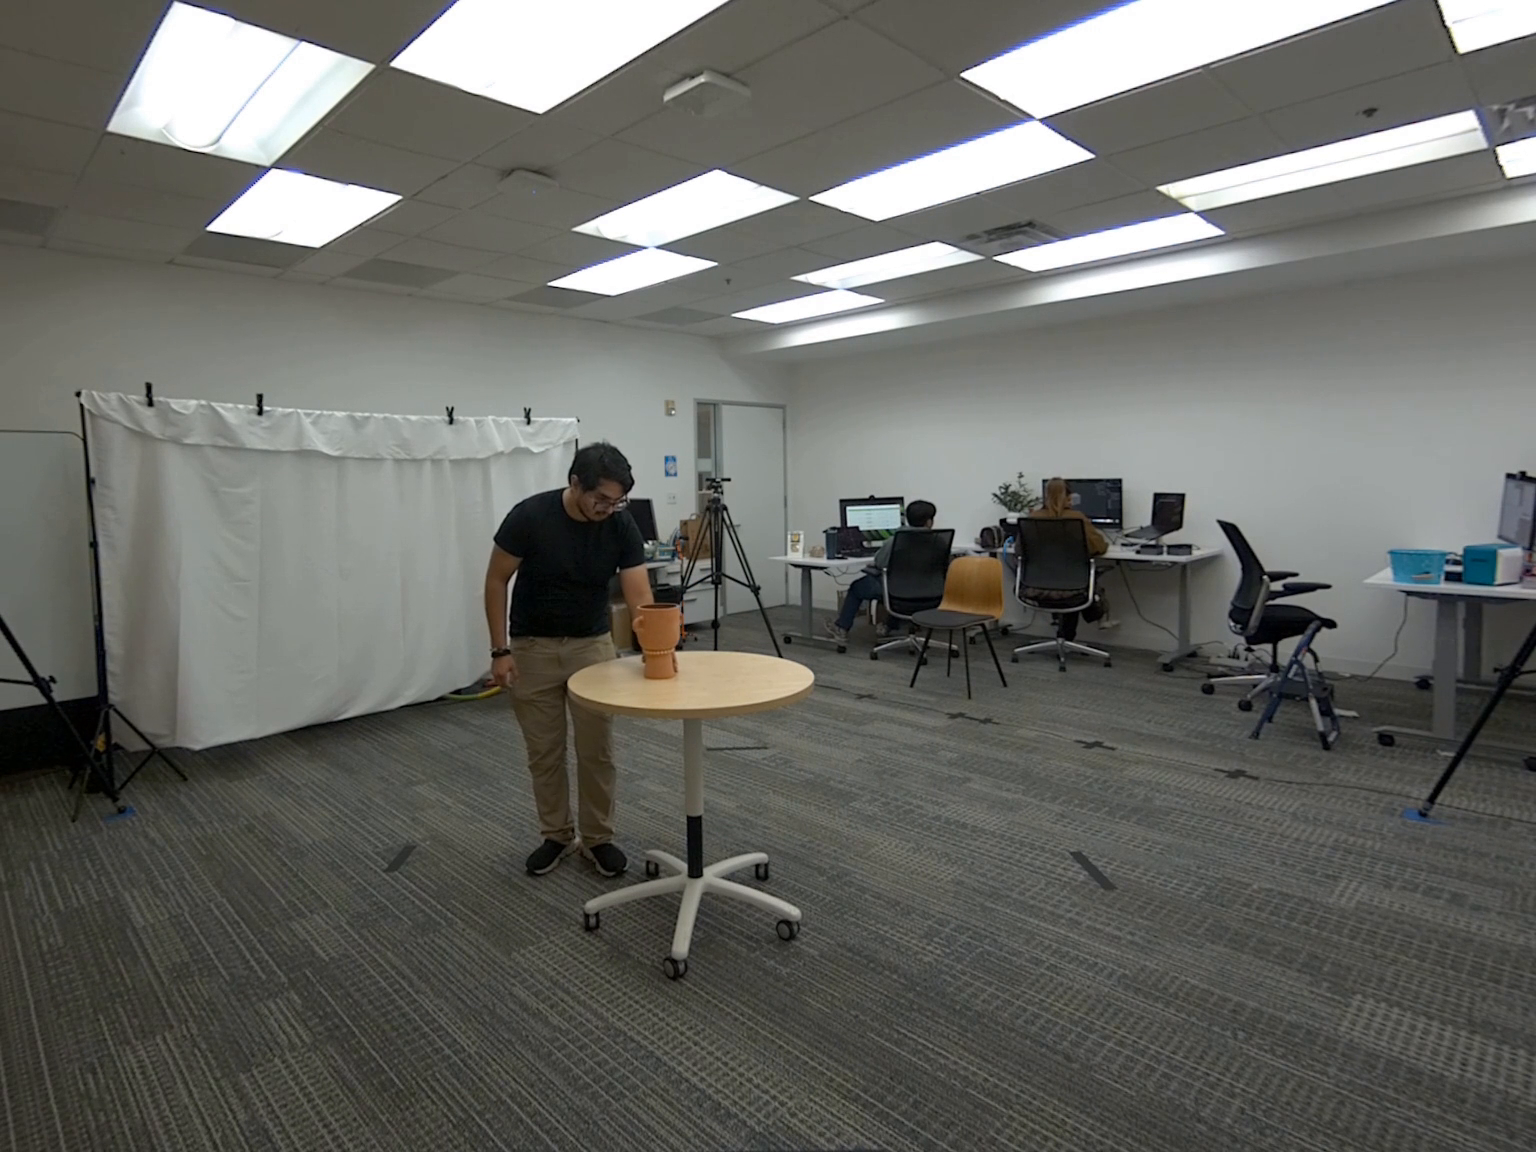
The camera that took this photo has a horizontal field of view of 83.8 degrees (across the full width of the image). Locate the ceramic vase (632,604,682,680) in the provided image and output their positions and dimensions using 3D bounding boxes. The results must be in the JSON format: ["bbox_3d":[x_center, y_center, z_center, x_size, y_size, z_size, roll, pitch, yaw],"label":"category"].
[{"bbox_3d":[-0.334,0.204,2.673,0.158,0.219,0.136,-2,5,-4],"label":"ceramic vase"}]
